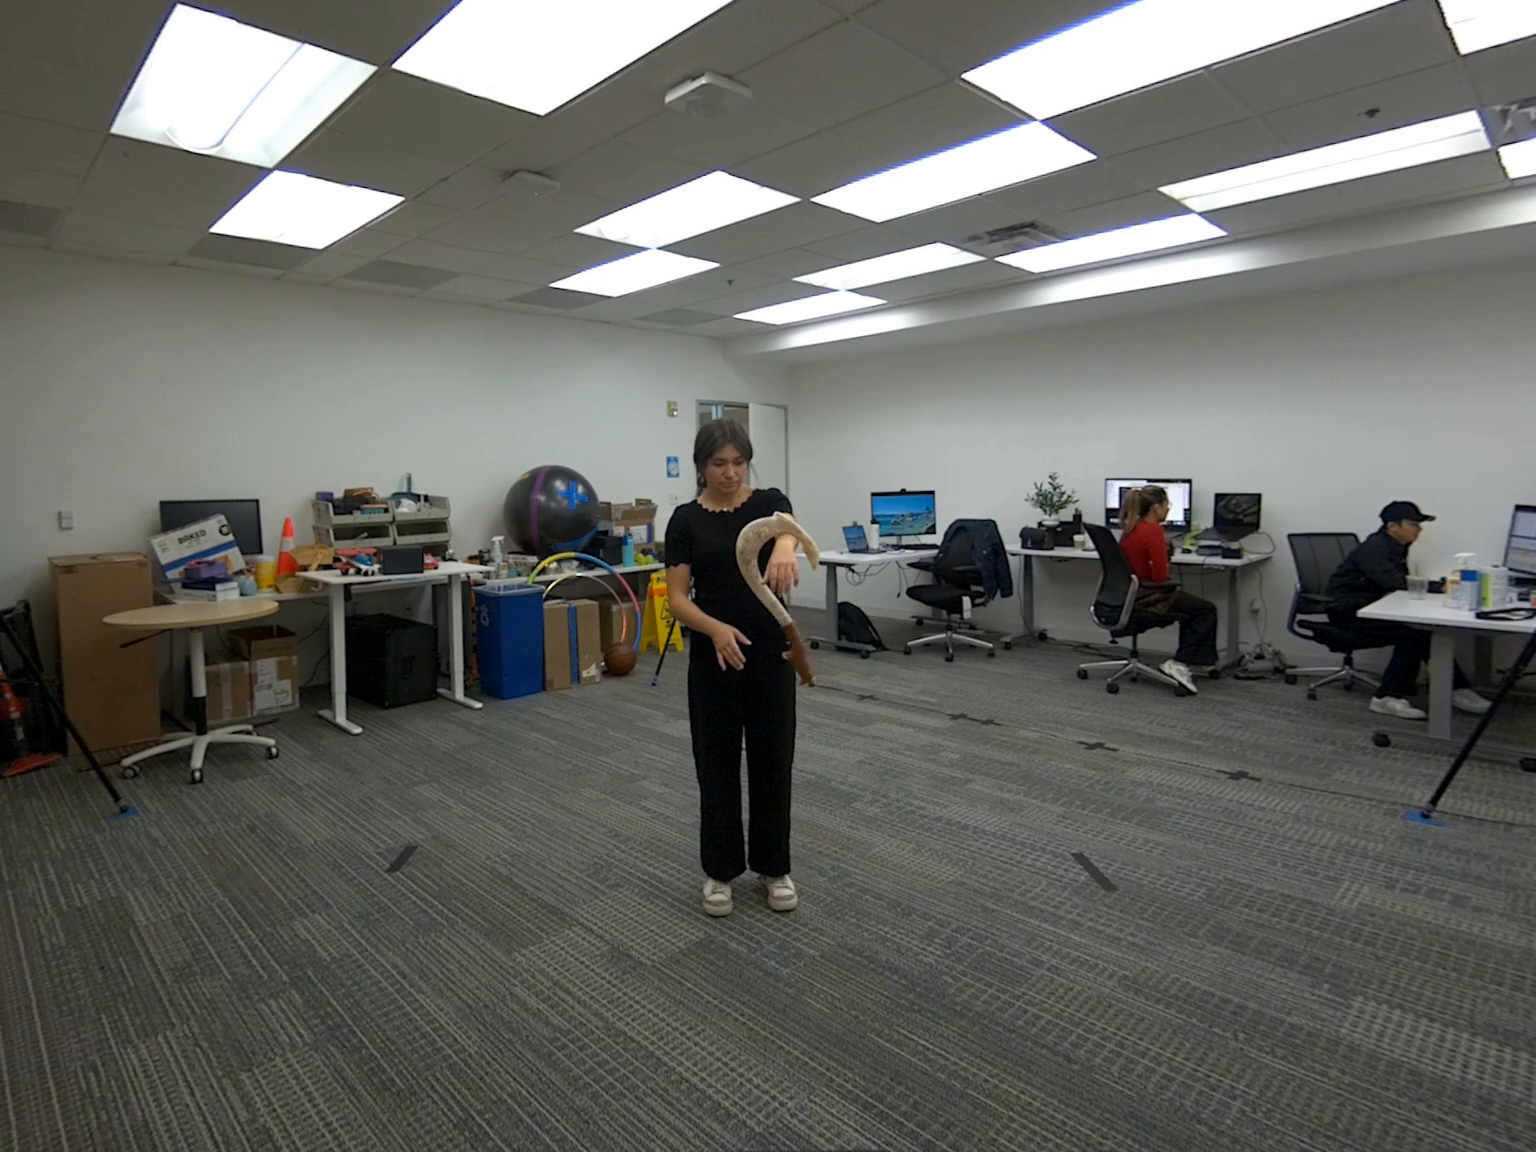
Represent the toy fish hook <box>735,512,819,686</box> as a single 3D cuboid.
[{"bbox_3d":[0.082,0.069,2.429,0.225,0.502,0.048,-19,7,5],"label":"toy fish hook"}]
